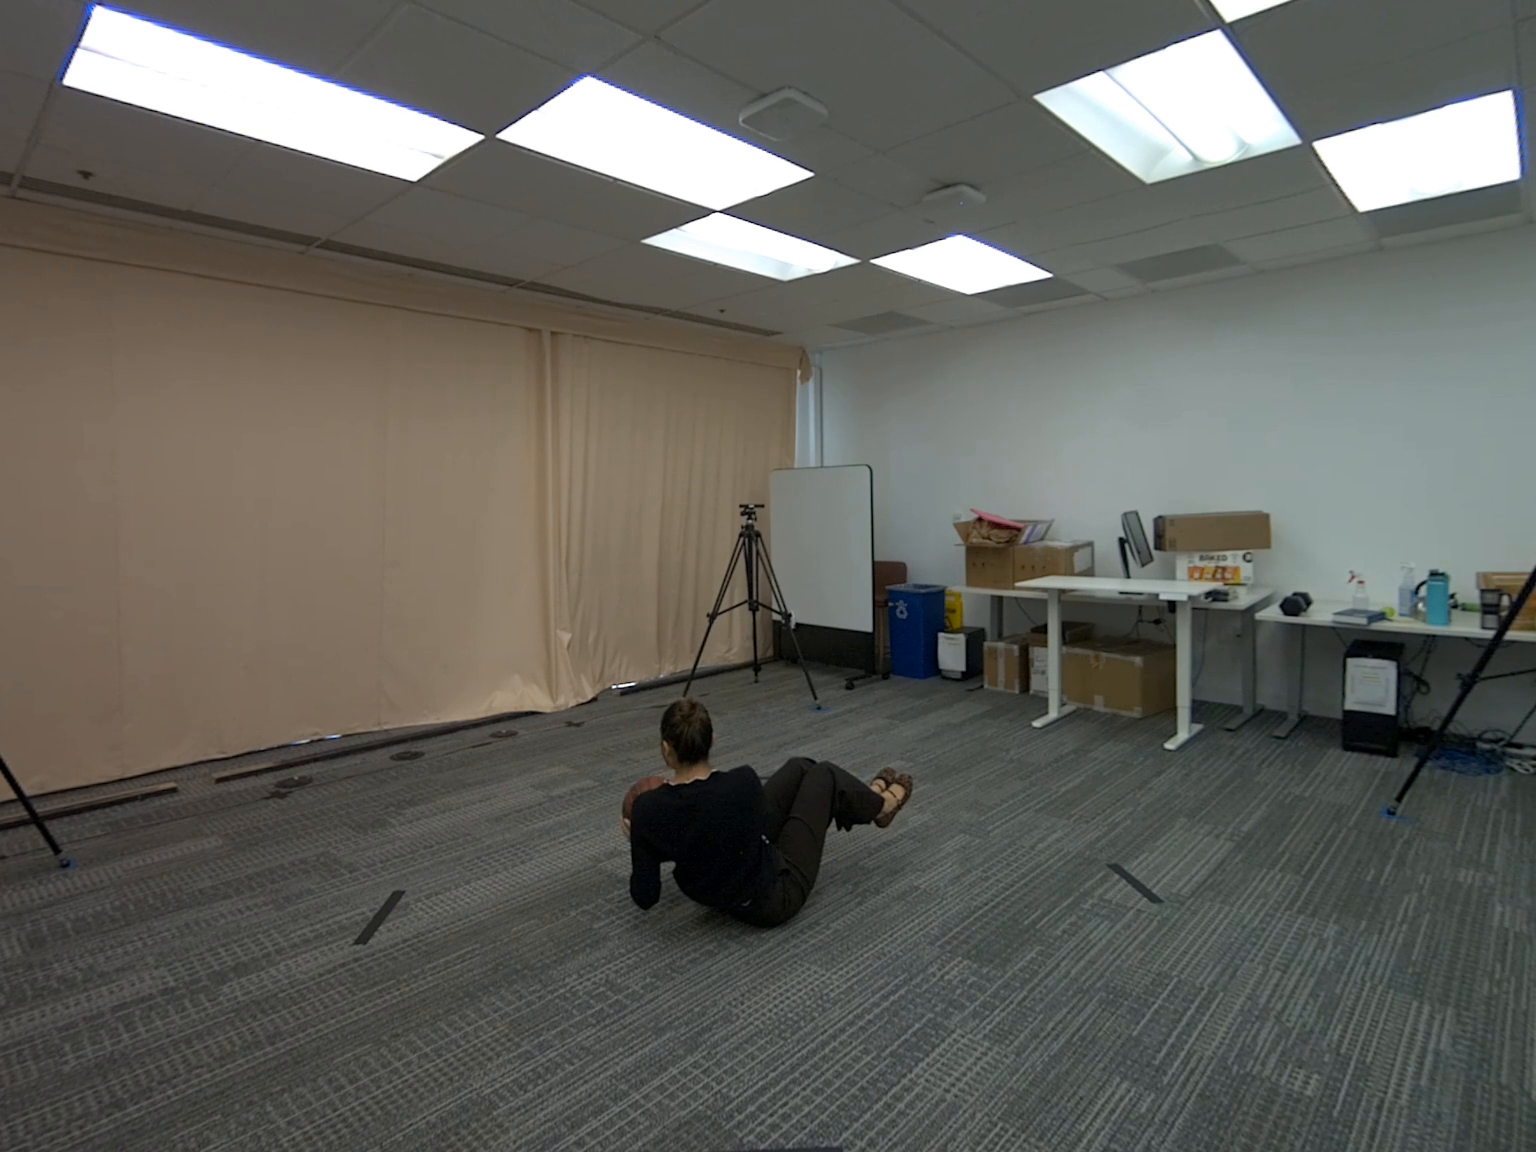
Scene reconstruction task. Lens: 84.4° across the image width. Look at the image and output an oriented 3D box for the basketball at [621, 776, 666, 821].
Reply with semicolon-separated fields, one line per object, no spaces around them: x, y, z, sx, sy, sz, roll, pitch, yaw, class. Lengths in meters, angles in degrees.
-0.392;0.842;3.061;0.236;0.235;0.237;-1;4;-2;basketball
